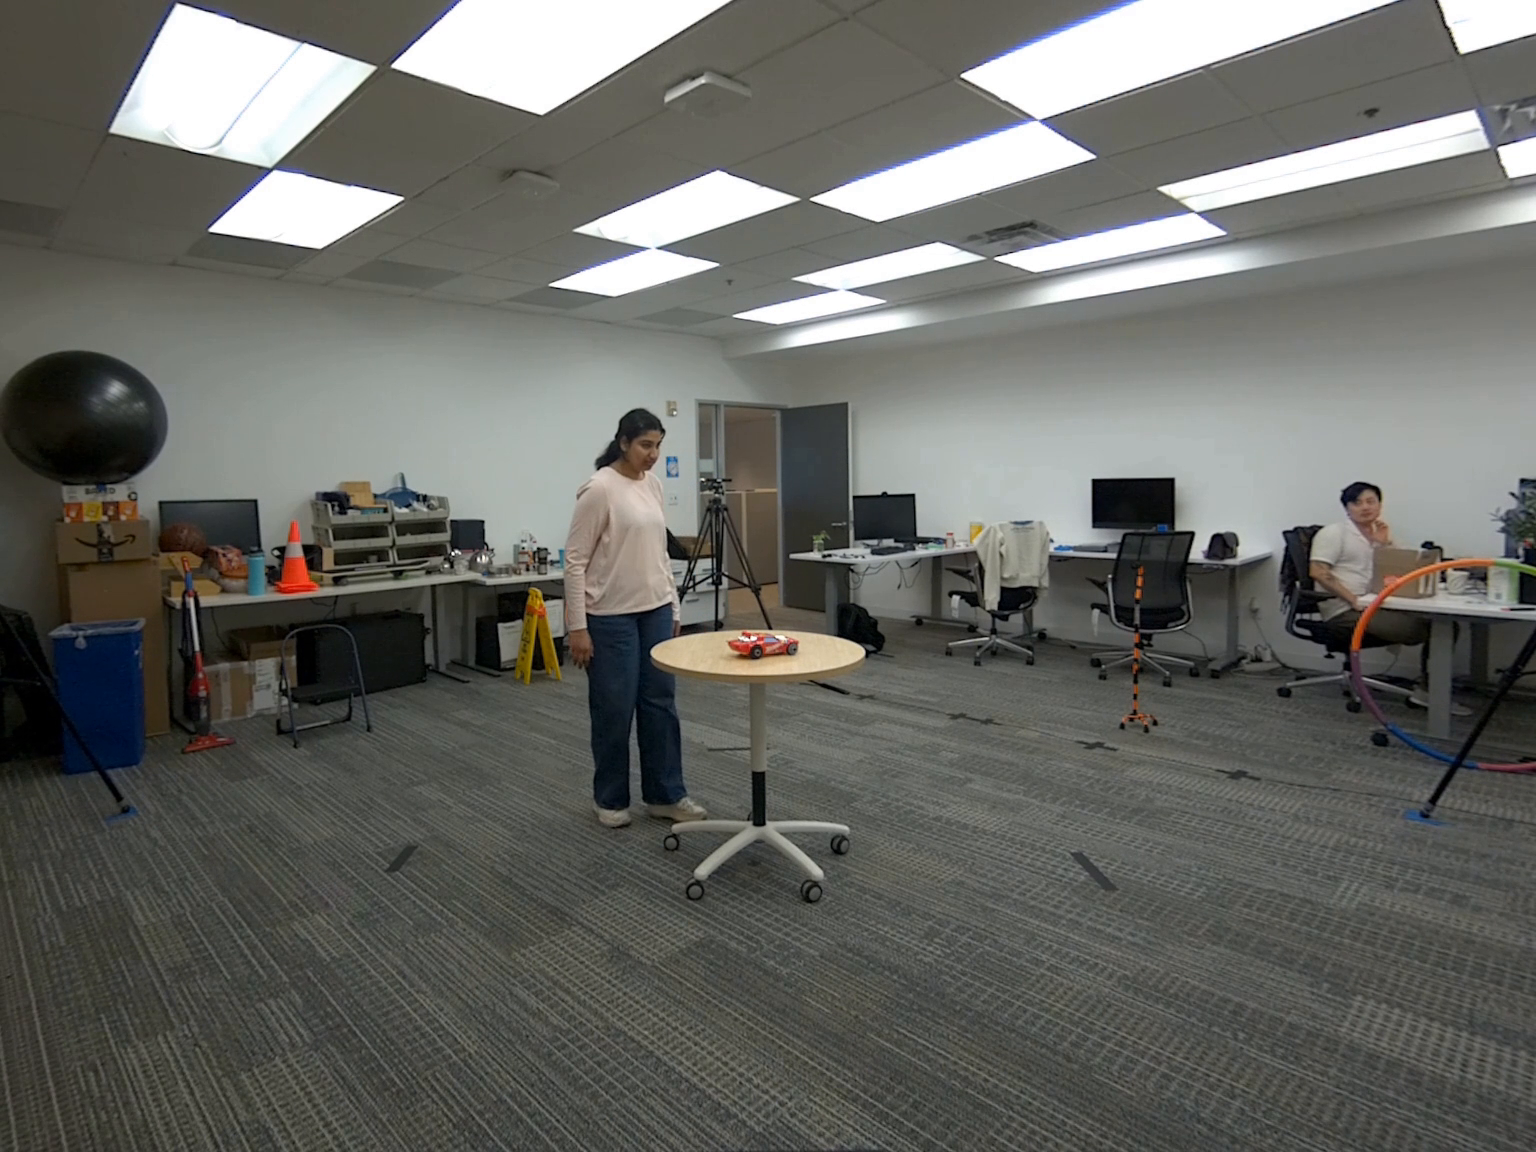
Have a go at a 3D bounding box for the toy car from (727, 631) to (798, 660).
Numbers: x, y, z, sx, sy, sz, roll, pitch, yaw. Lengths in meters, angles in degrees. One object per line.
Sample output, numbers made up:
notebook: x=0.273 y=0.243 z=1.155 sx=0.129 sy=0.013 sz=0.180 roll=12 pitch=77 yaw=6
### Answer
toy car: x=-0.018 y=0.243 z=2.977 sx=0.248 sy=0.083 sz=0.134 roll=9 pitch=1 yaw=-27
